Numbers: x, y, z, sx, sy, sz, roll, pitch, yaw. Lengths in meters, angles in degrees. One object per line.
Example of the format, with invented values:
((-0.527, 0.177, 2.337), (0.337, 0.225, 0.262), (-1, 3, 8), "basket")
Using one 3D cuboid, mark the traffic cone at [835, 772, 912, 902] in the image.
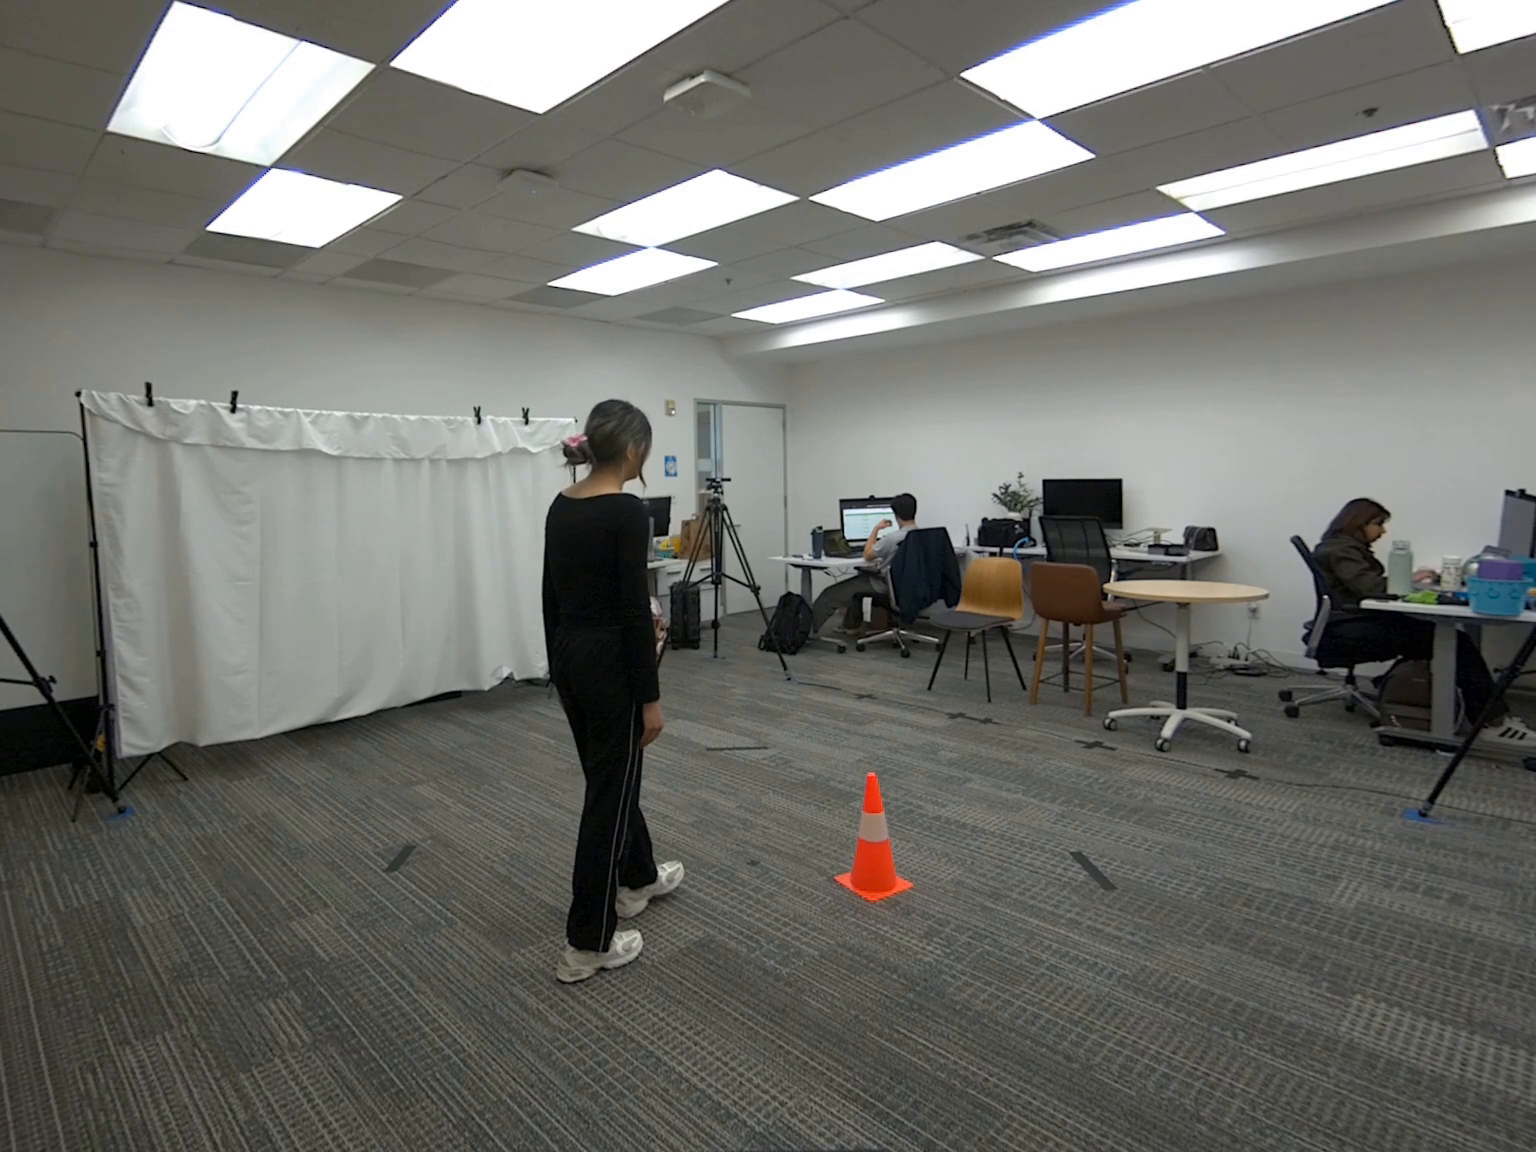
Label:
((0.366, 0.870, 2.930), (0.198, 0.382, 0.211), (-4, 4, -34), "traffic cone")
